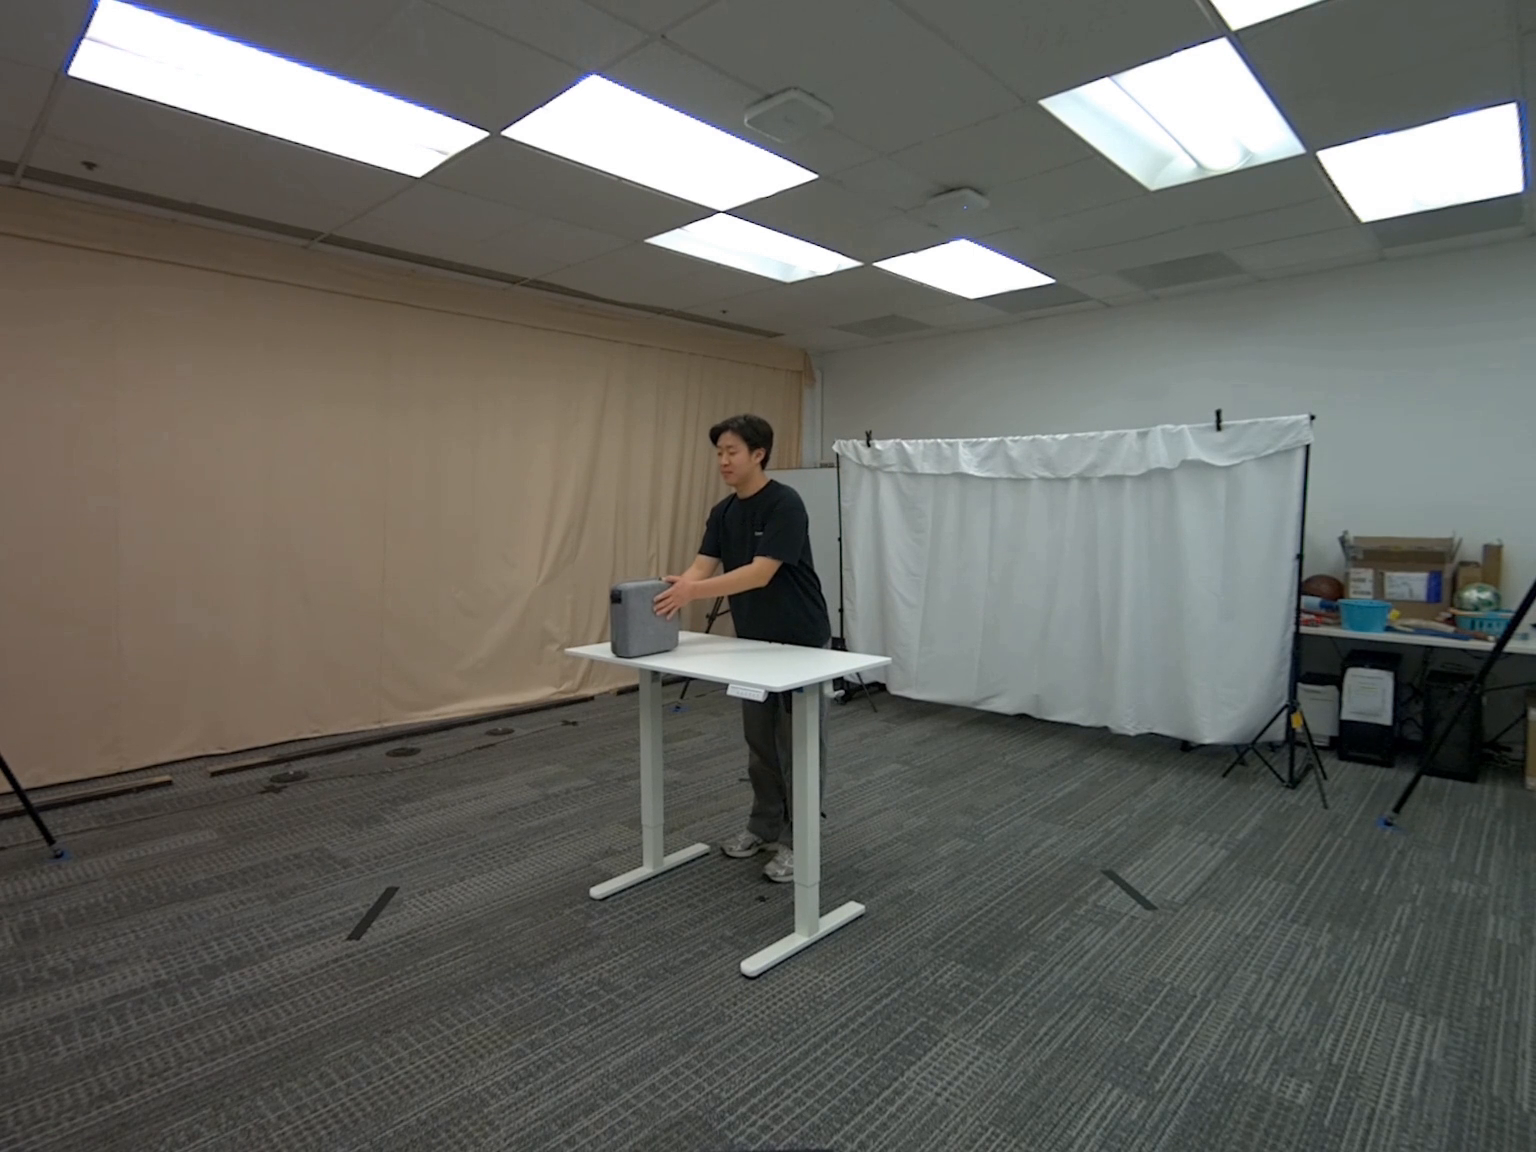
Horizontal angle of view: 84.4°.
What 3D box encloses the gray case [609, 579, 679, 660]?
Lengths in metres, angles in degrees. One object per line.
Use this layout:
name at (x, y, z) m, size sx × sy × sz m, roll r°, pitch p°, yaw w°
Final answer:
gray case at (-0.425, 0.146, 2.913) m, size 0.108 × 0.256 × 0.253 m, roll 1°, pitch 4°, yaw 42°
